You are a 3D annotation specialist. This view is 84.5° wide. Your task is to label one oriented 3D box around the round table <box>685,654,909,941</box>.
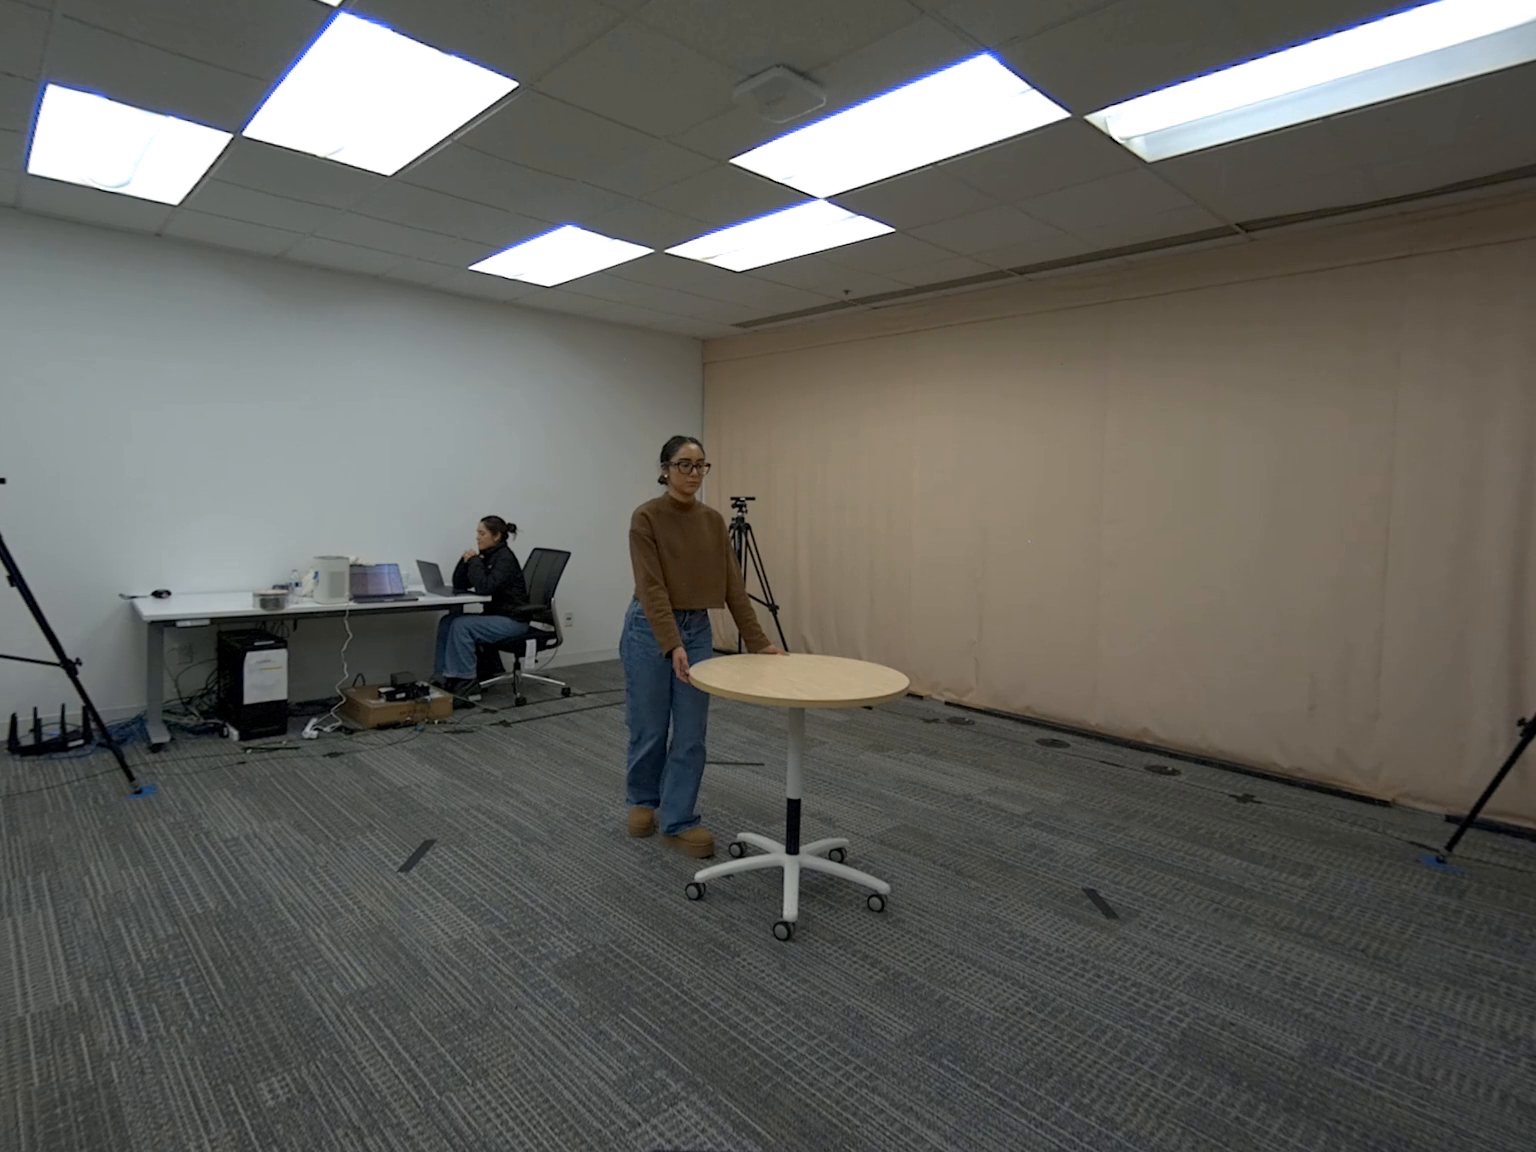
[{"bbox_3d":[0.072,0.729,2.970,0.784,0.784,0.788,2,4,-2],"label":"round table"}]
